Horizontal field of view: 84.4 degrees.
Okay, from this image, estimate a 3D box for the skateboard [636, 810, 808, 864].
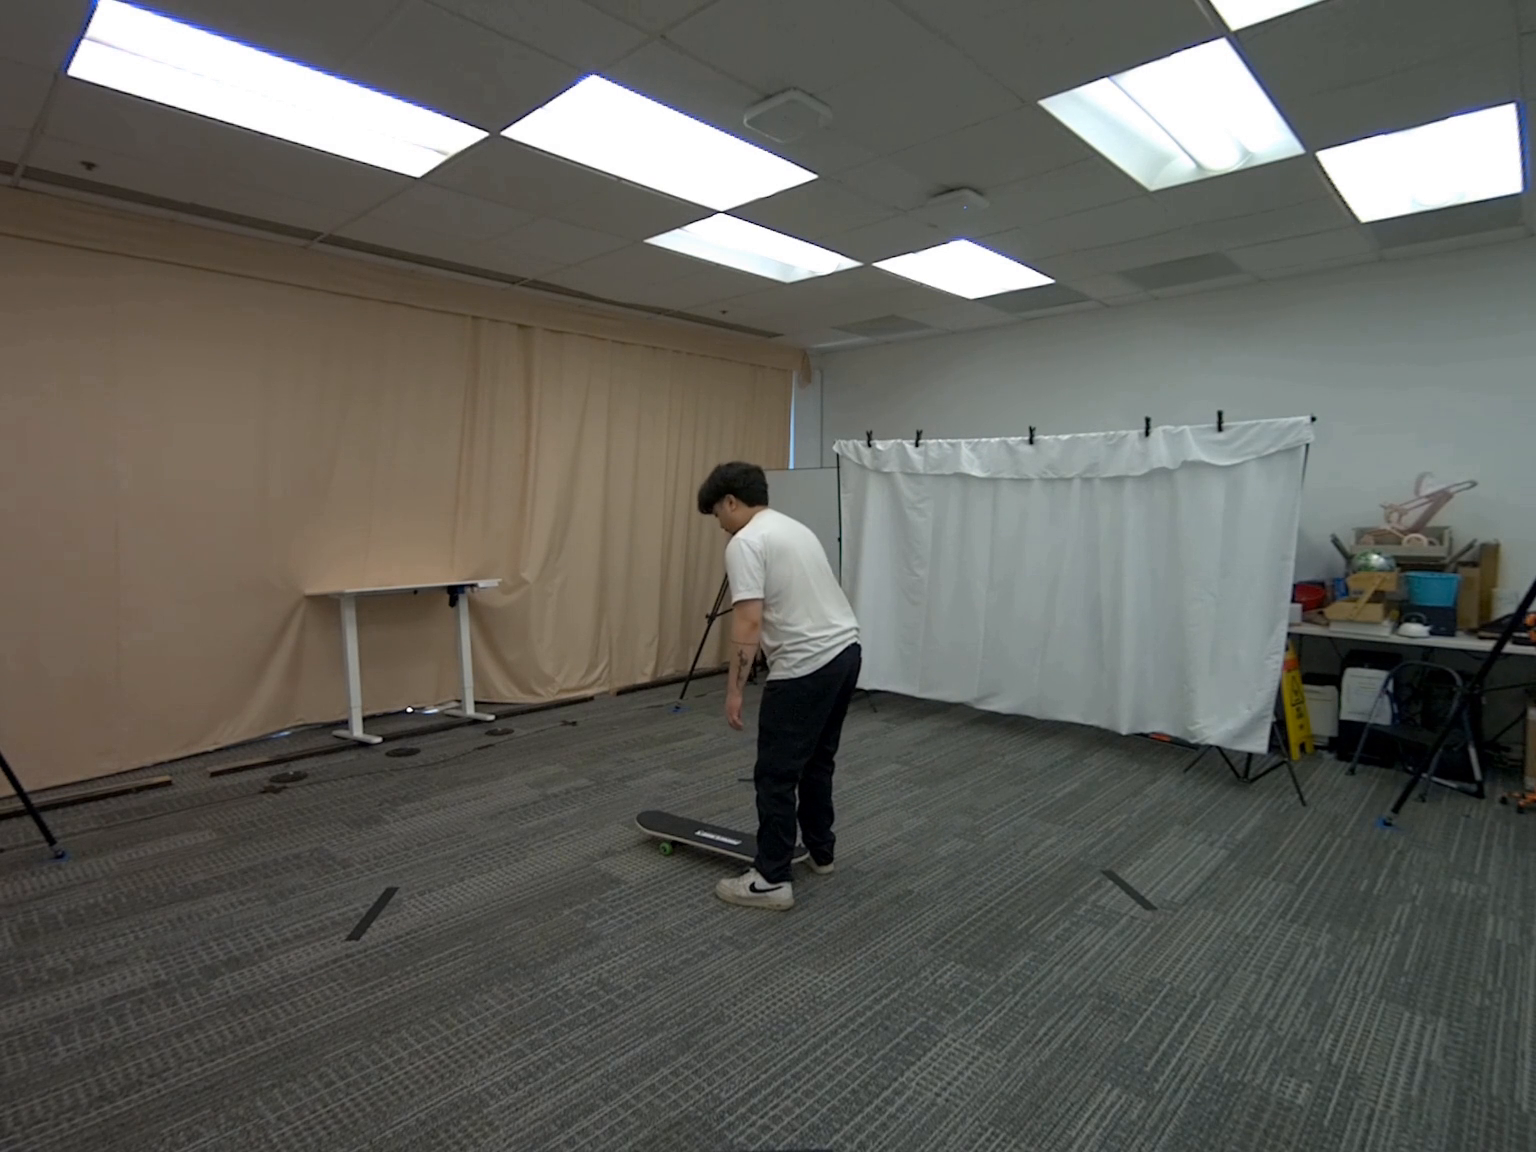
[{"bbox_3d":[-0.199,1.064,3.319,0.809,0.110,0.188,3,6,32],"label":"skateboard"}]
